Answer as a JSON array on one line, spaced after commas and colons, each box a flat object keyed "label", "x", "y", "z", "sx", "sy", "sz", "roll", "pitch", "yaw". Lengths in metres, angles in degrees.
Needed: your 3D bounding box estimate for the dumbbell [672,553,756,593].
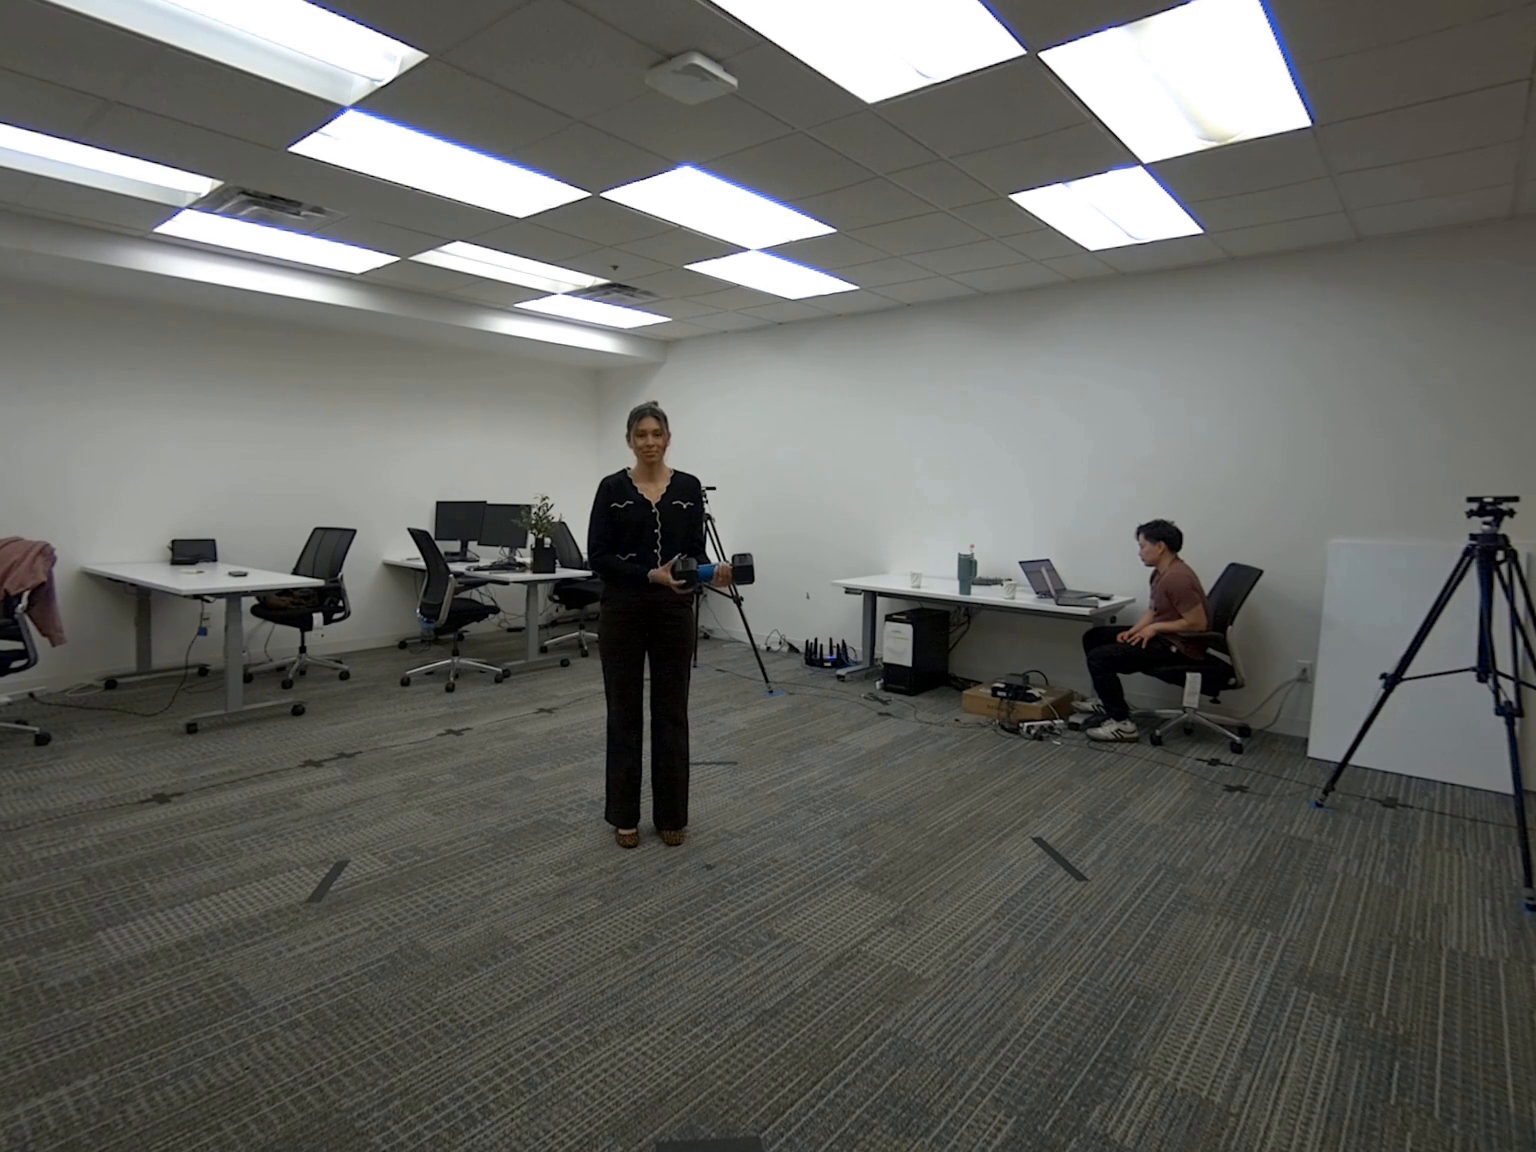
[{"label": "dumbbell", "x": -0.207, "y": -0.026, "z": 3.166, "sx": 0.294, "sy": 0.110, "sz": 0.121, "roll": -4, "pitch": -15, "yaw": 0}]
